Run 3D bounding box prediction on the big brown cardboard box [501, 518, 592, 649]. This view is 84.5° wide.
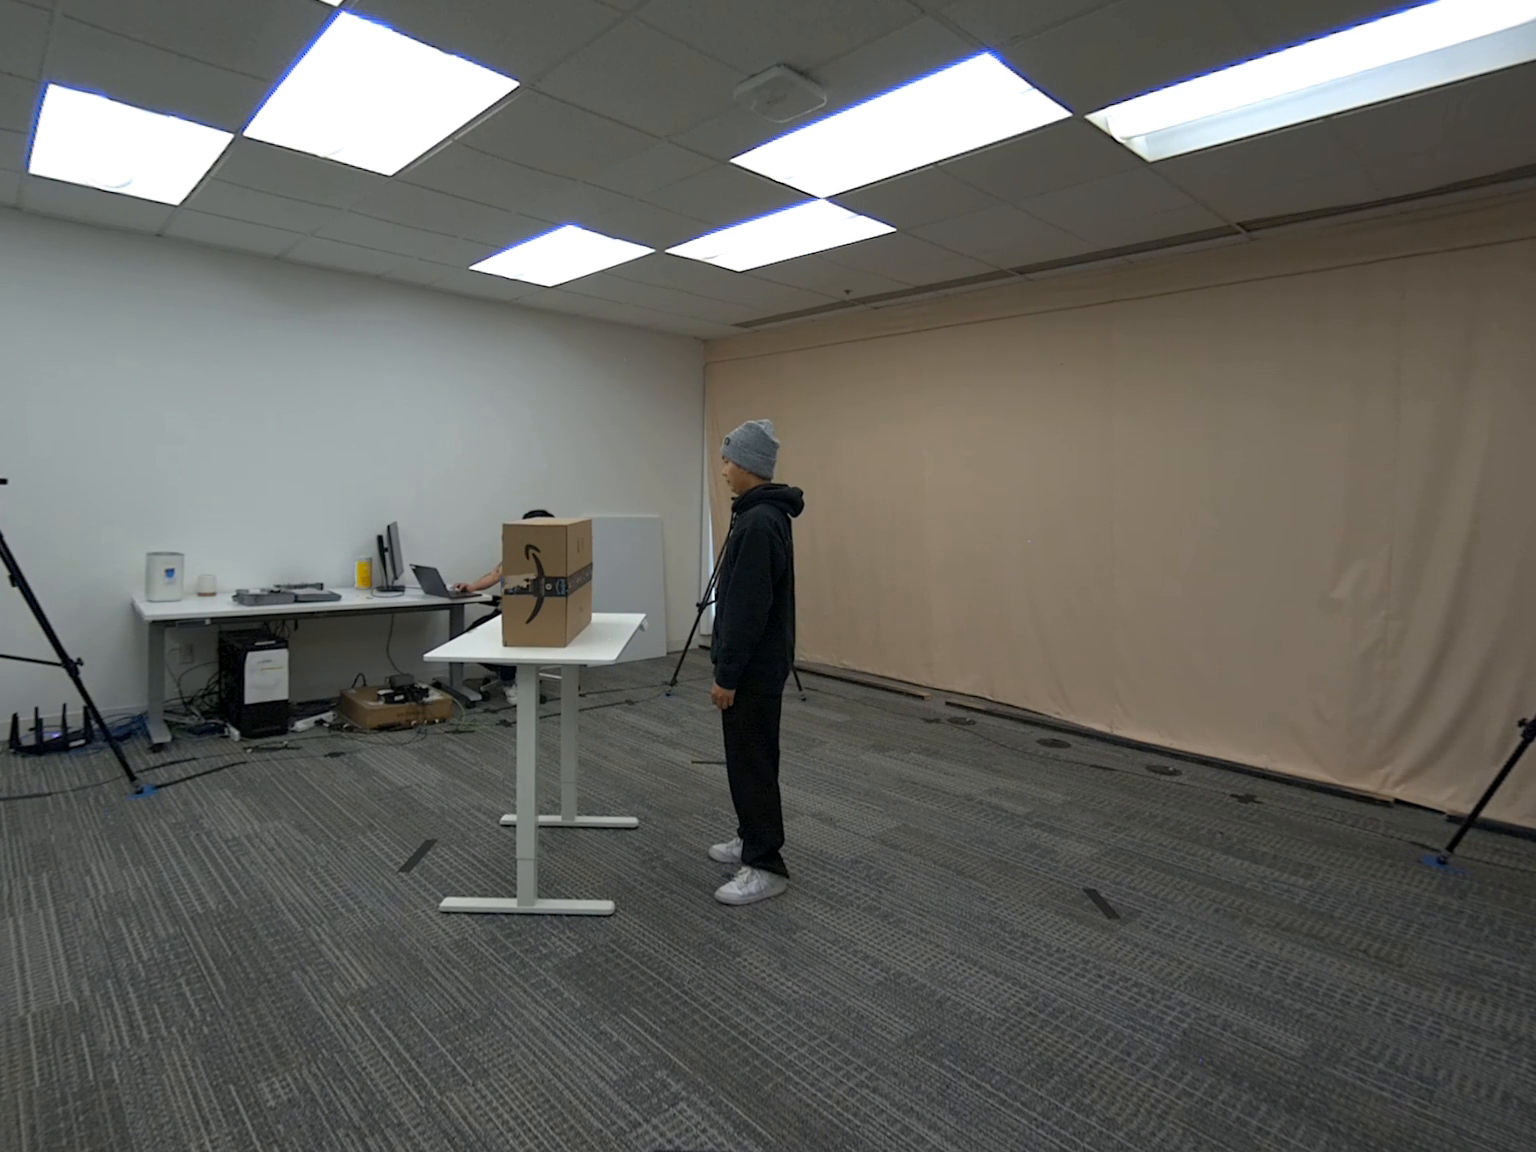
[{"bbox_3d":[-0.795,0.004,3.081,0.233,0.416,0.591,0,4,-3],"label":"big brown cardboard box"}]
